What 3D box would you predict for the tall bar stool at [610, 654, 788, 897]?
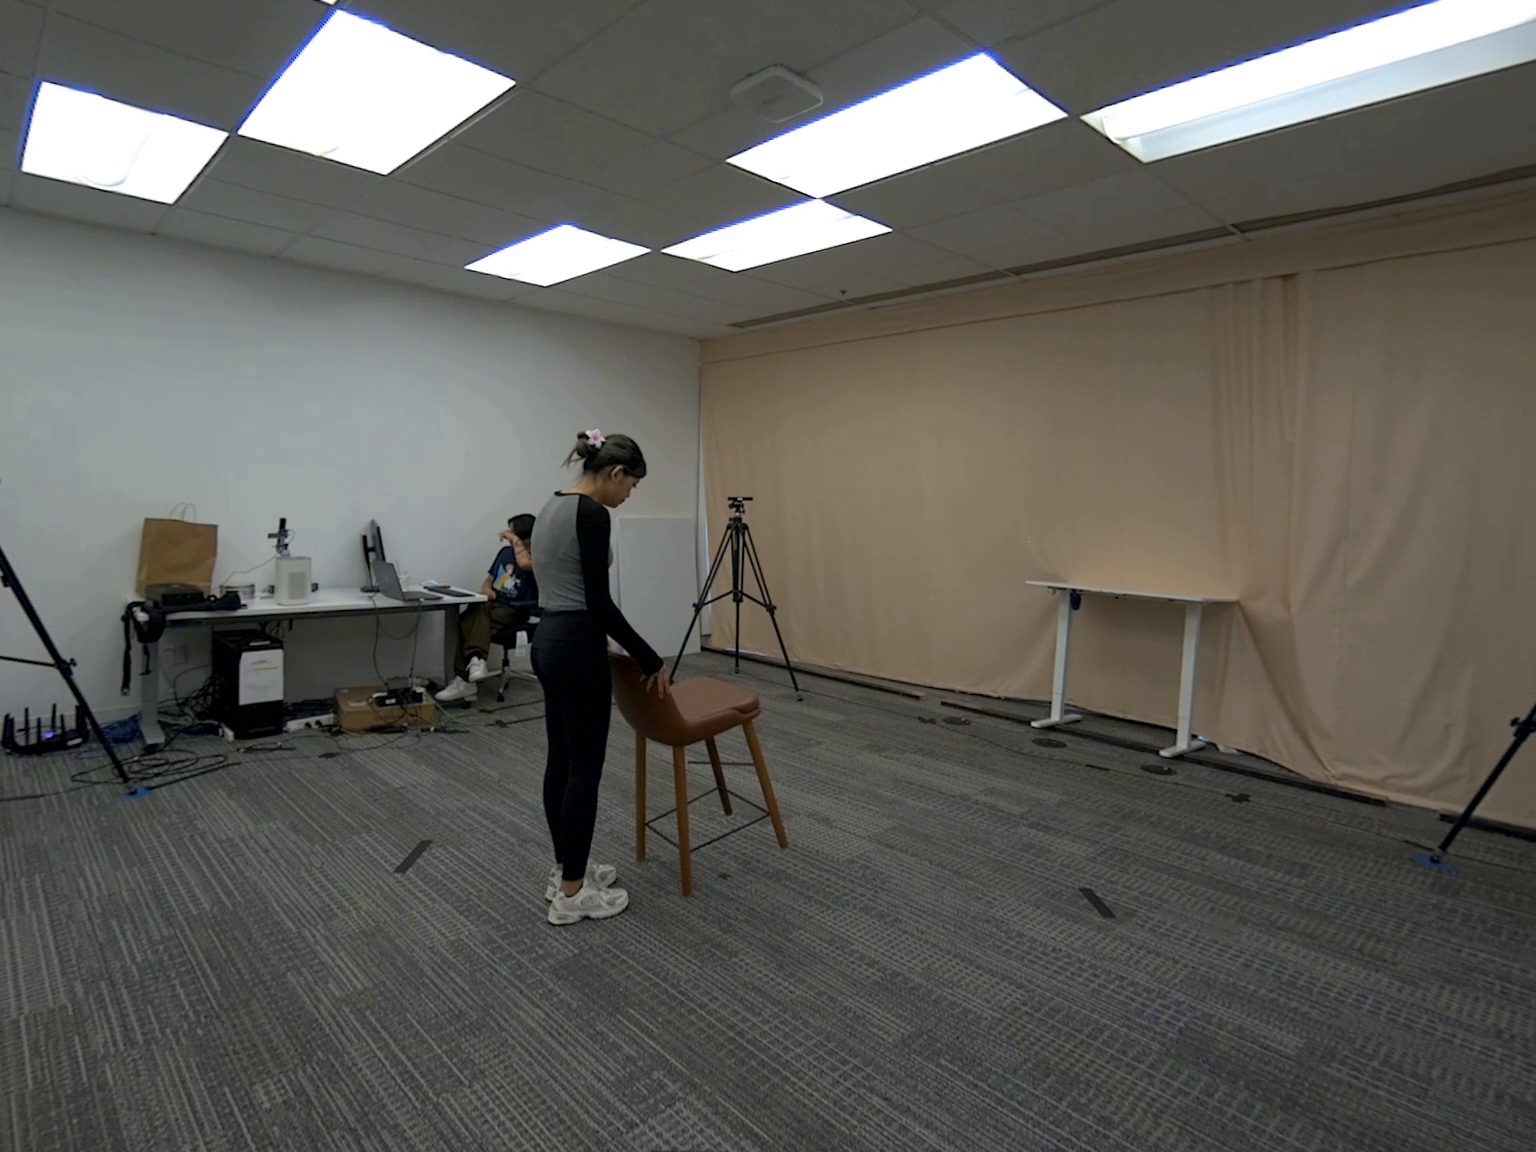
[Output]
[{"bbox_3d":[-0.295,0.633,3.126,0.461,0.881,0.468,-17,13,-32],"label":"tall bar stool"}]
